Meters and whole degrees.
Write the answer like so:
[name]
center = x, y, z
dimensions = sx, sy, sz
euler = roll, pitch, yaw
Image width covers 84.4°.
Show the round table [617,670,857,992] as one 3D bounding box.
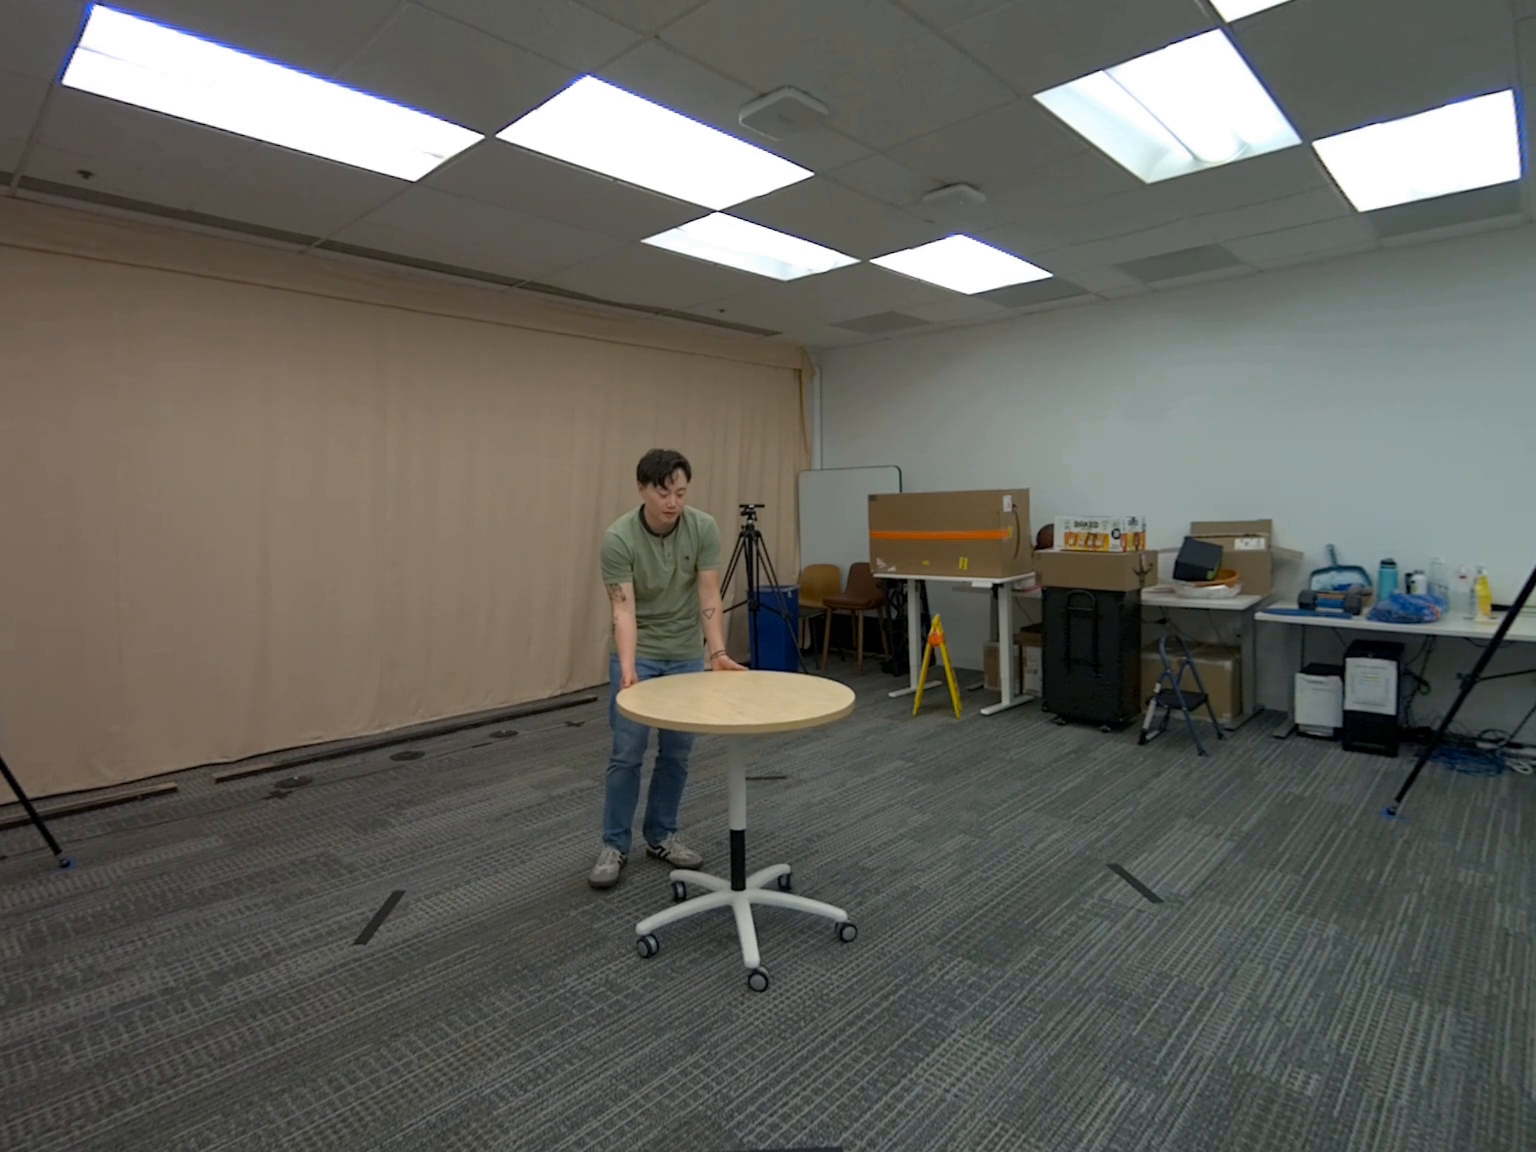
[round table]
center = -0.093, 0.774, 2.733
dimensions = 0.763, 0.792, 0.766
euler = -1, 4, -2
